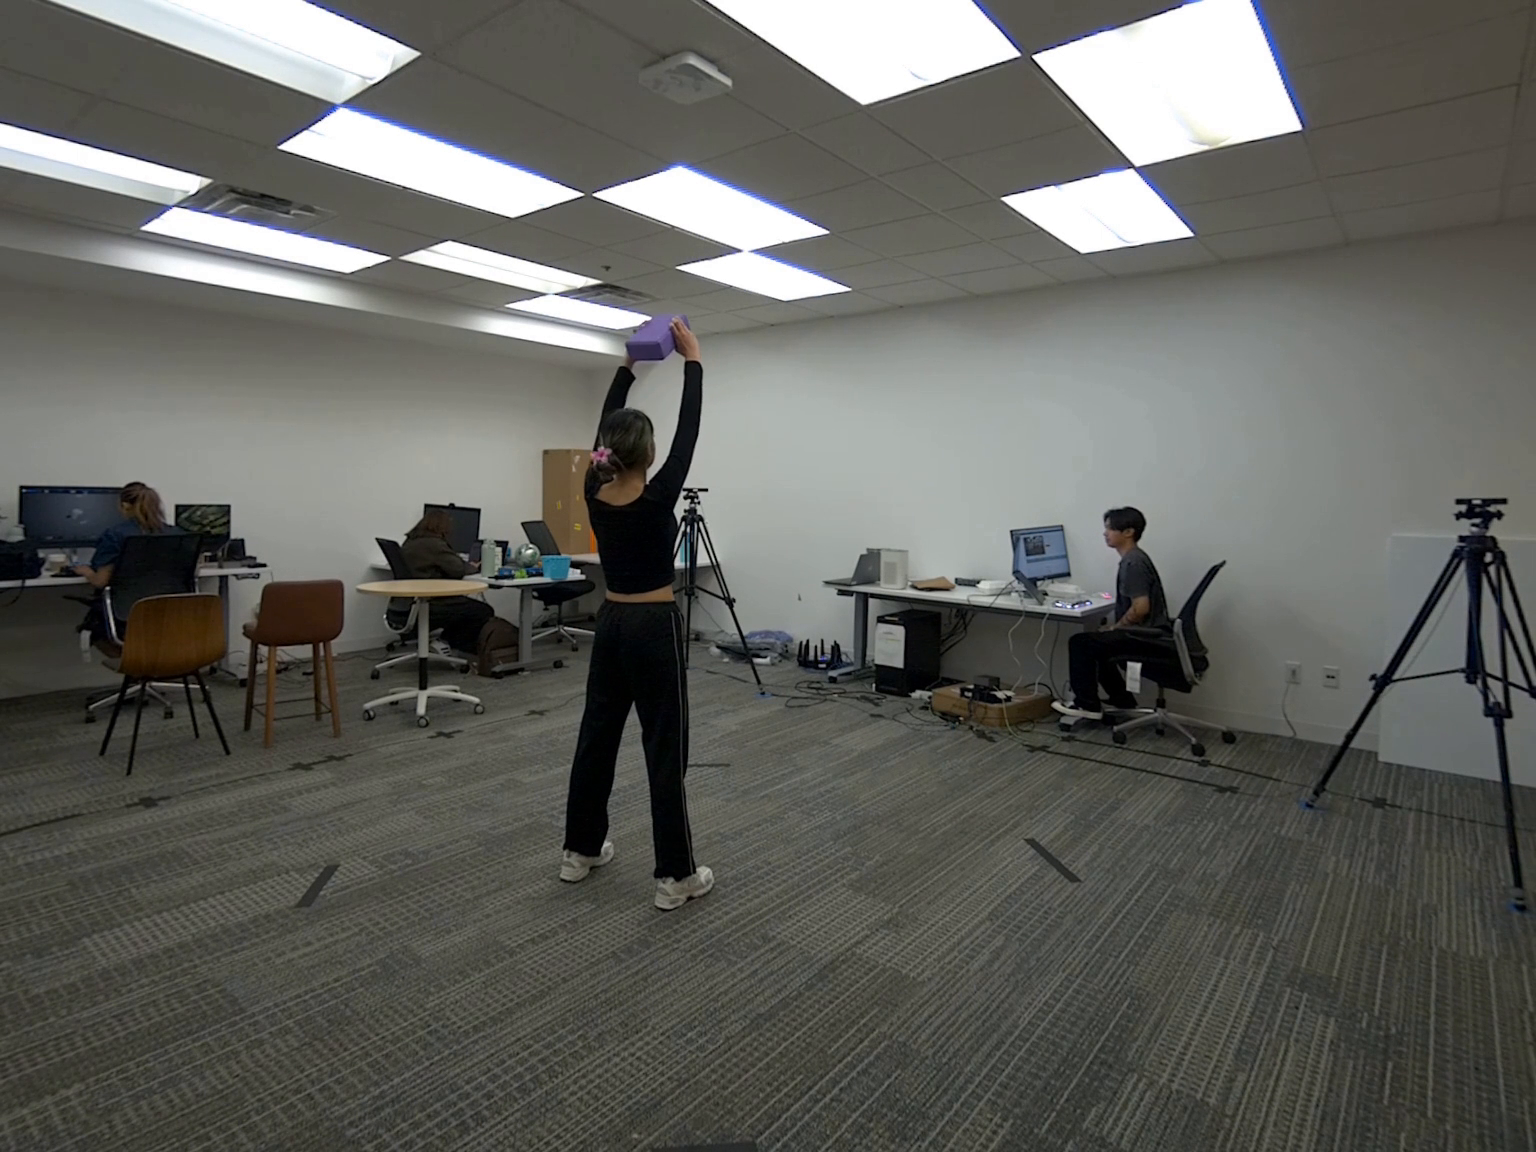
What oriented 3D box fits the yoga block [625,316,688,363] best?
[{"bbox_3d":[-0.402,-0.858,3.068,0.153,0.074,0.231,5,41,25],"label":"yoga block"}]
